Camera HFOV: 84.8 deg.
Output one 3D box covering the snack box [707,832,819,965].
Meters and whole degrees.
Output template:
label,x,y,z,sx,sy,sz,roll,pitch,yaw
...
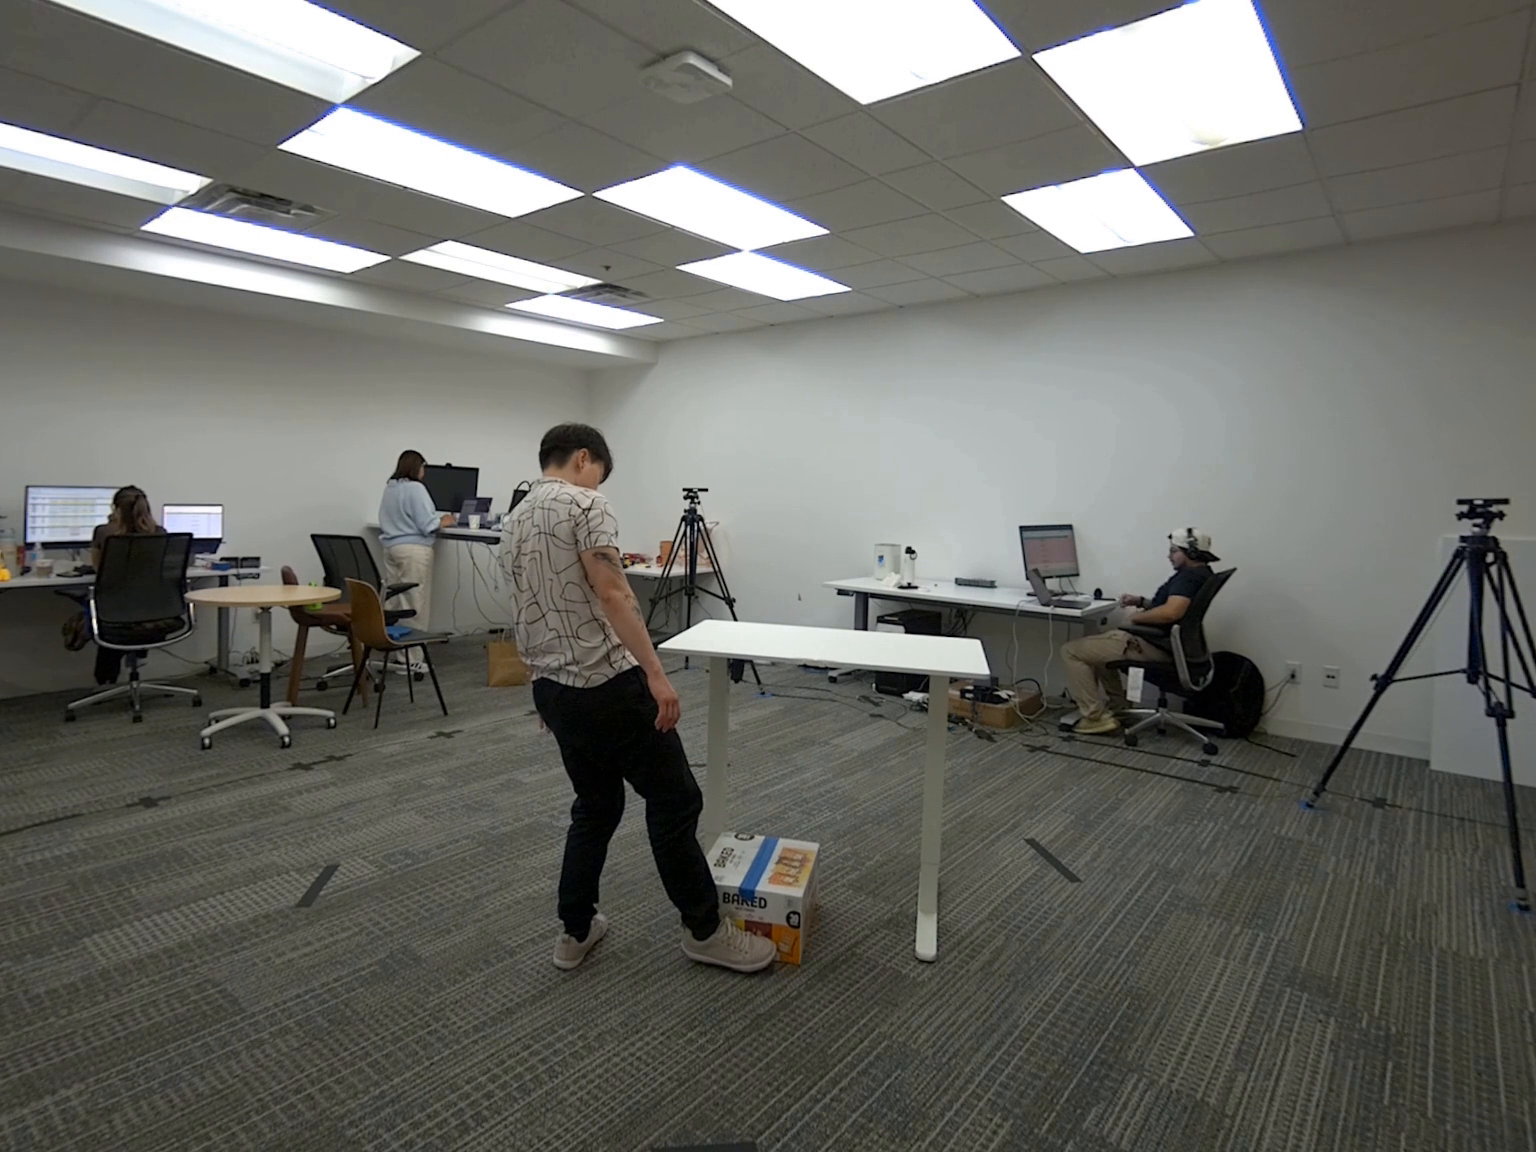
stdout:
label,x,y,z,sx,sy,sz,roll,pitch,yaw
snack box,-0.038,1.008,2.714,0.345,0.205,0.401,3,5,12
